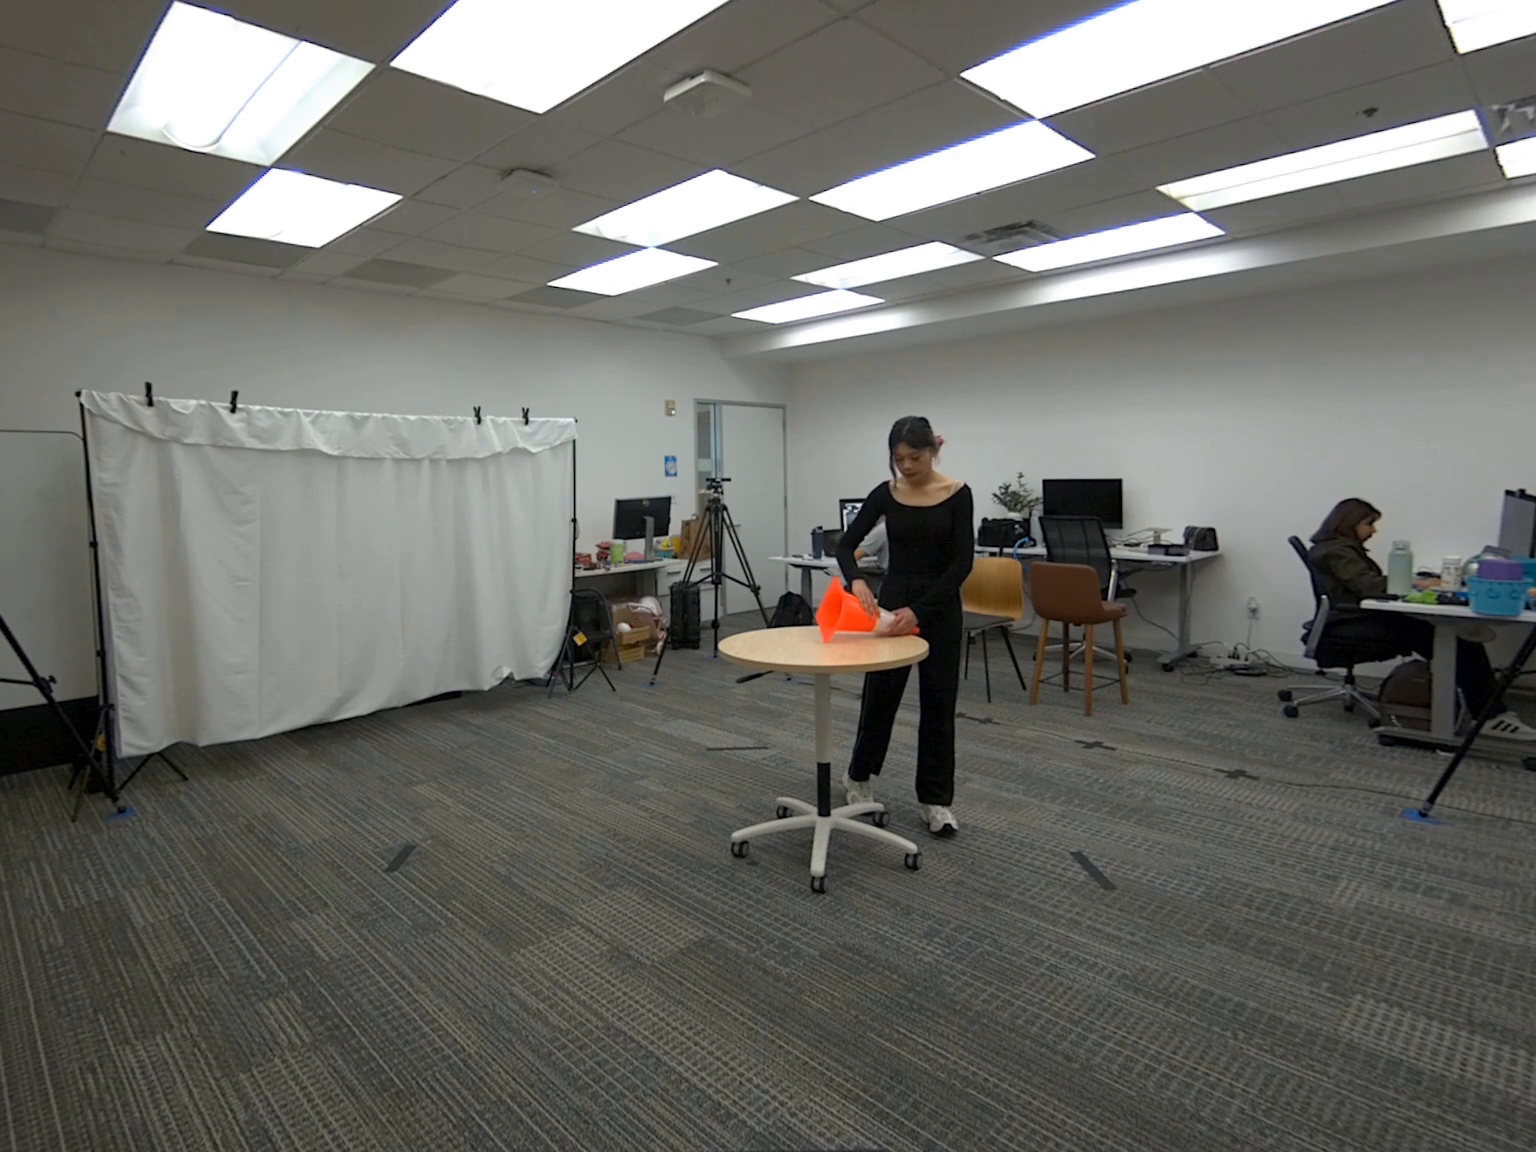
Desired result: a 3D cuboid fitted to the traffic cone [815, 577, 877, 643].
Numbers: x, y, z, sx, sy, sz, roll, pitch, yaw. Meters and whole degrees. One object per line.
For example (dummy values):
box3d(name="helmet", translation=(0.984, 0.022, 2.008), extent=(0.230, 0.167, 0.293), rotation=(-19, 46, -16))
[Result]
box3d(name="traffic cone", translation=(0.413, 0.167, 3.243), extent=(0.377, 0.201, 0.210), rotation=(14, 22, -14))
